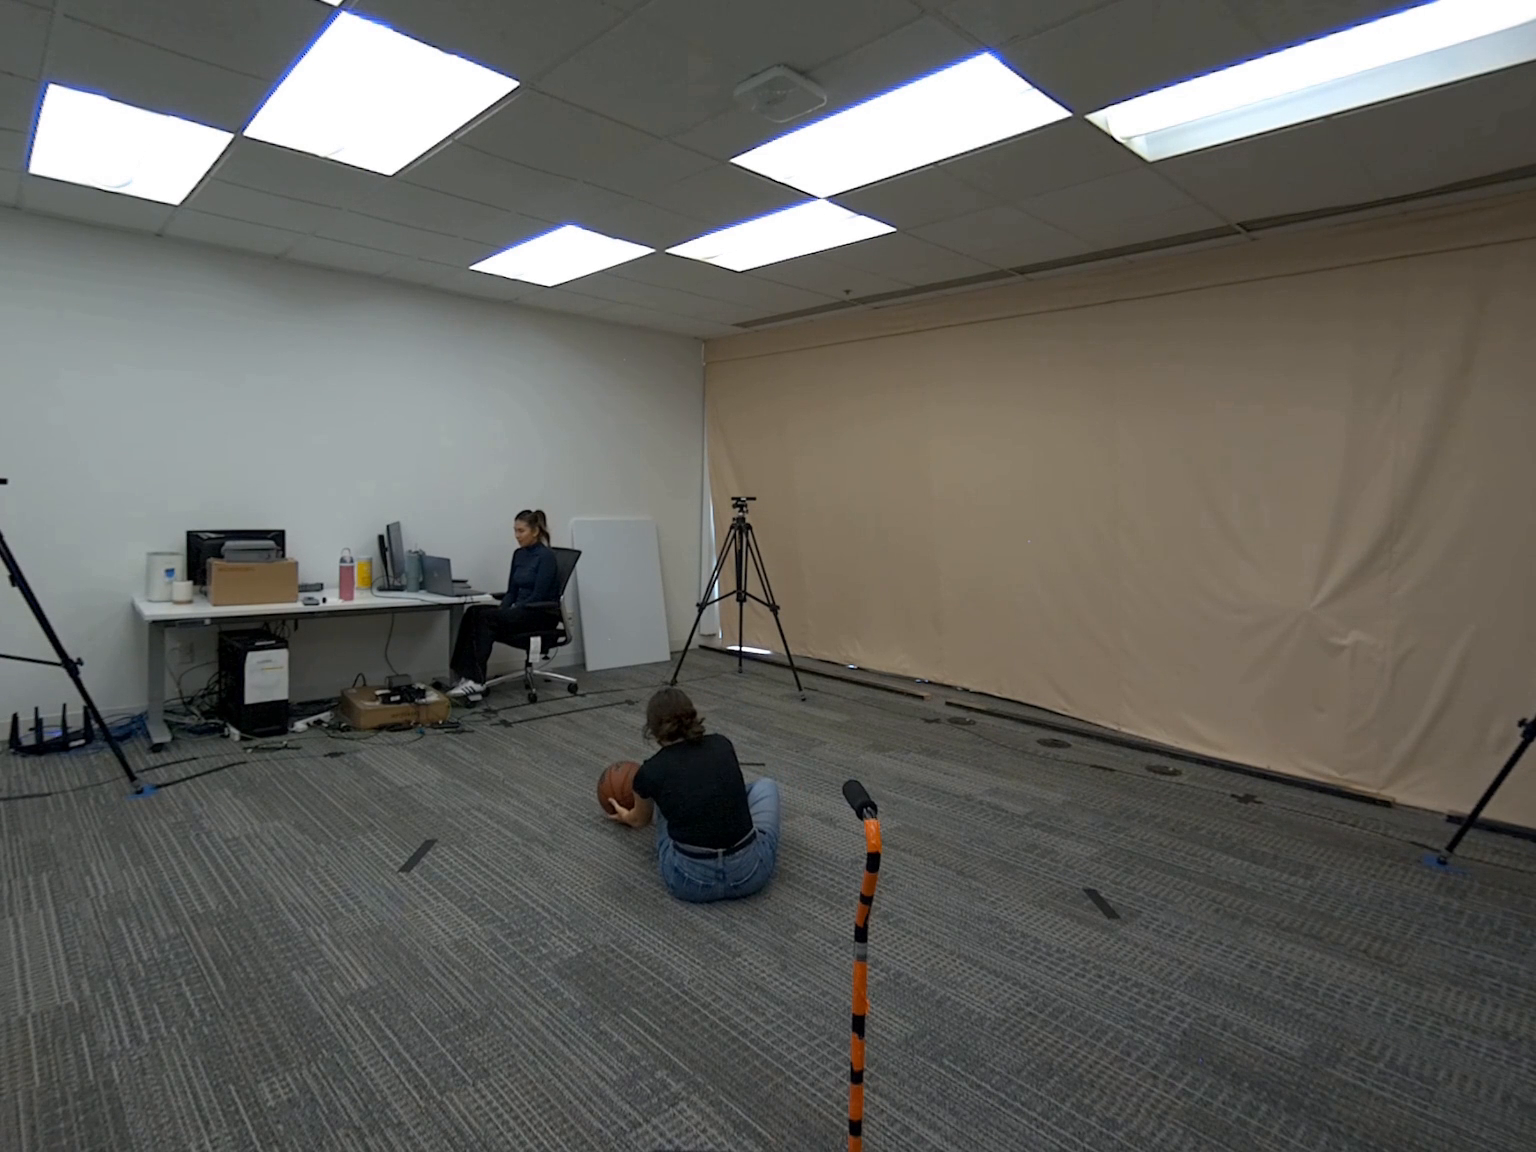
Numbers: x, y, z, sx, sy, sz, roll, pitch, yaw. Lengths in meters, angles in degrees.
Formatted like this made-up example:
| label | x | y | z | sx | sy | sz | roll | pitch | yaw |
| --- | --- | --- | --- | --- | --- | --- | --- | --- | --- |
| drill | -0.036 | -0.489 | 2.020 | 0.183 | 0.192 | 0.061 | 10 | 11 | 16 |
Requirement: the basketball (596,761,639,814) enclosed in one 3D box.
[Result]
| label | x | y | z | sx | sy | sz | roll | pitch | yaw |
| --- | --- | --- | --- | --- | --- | --- | --- | --- | --- |
| basketball | -0.620 | 0.911 | 3.614 | 0.236 | 0.235 | 0.237 | 1 | 4 | -1 |
